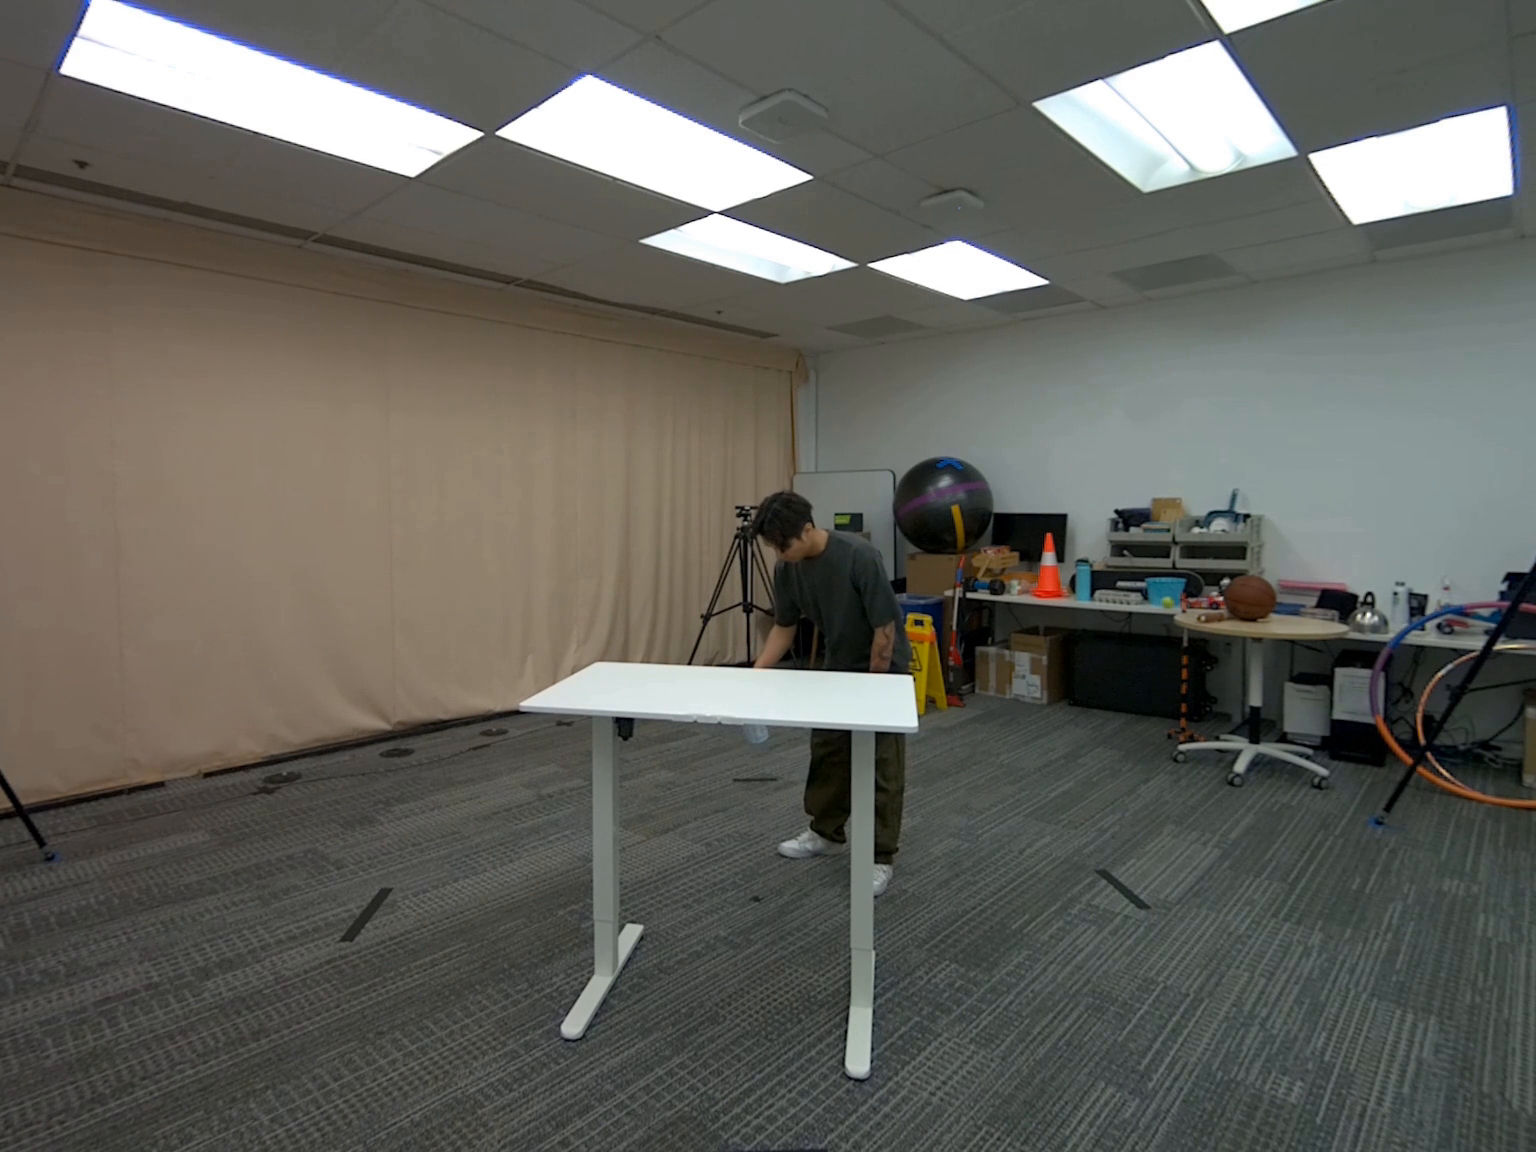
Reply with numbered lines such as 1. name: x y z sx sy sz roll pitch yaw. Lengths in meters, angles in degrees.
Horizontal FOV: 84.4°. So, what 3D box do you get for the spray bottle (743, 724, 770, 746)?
1. spray bottle: -0.062 0.502 3.187 0.089 0.293 0.089 -21 17 -15
